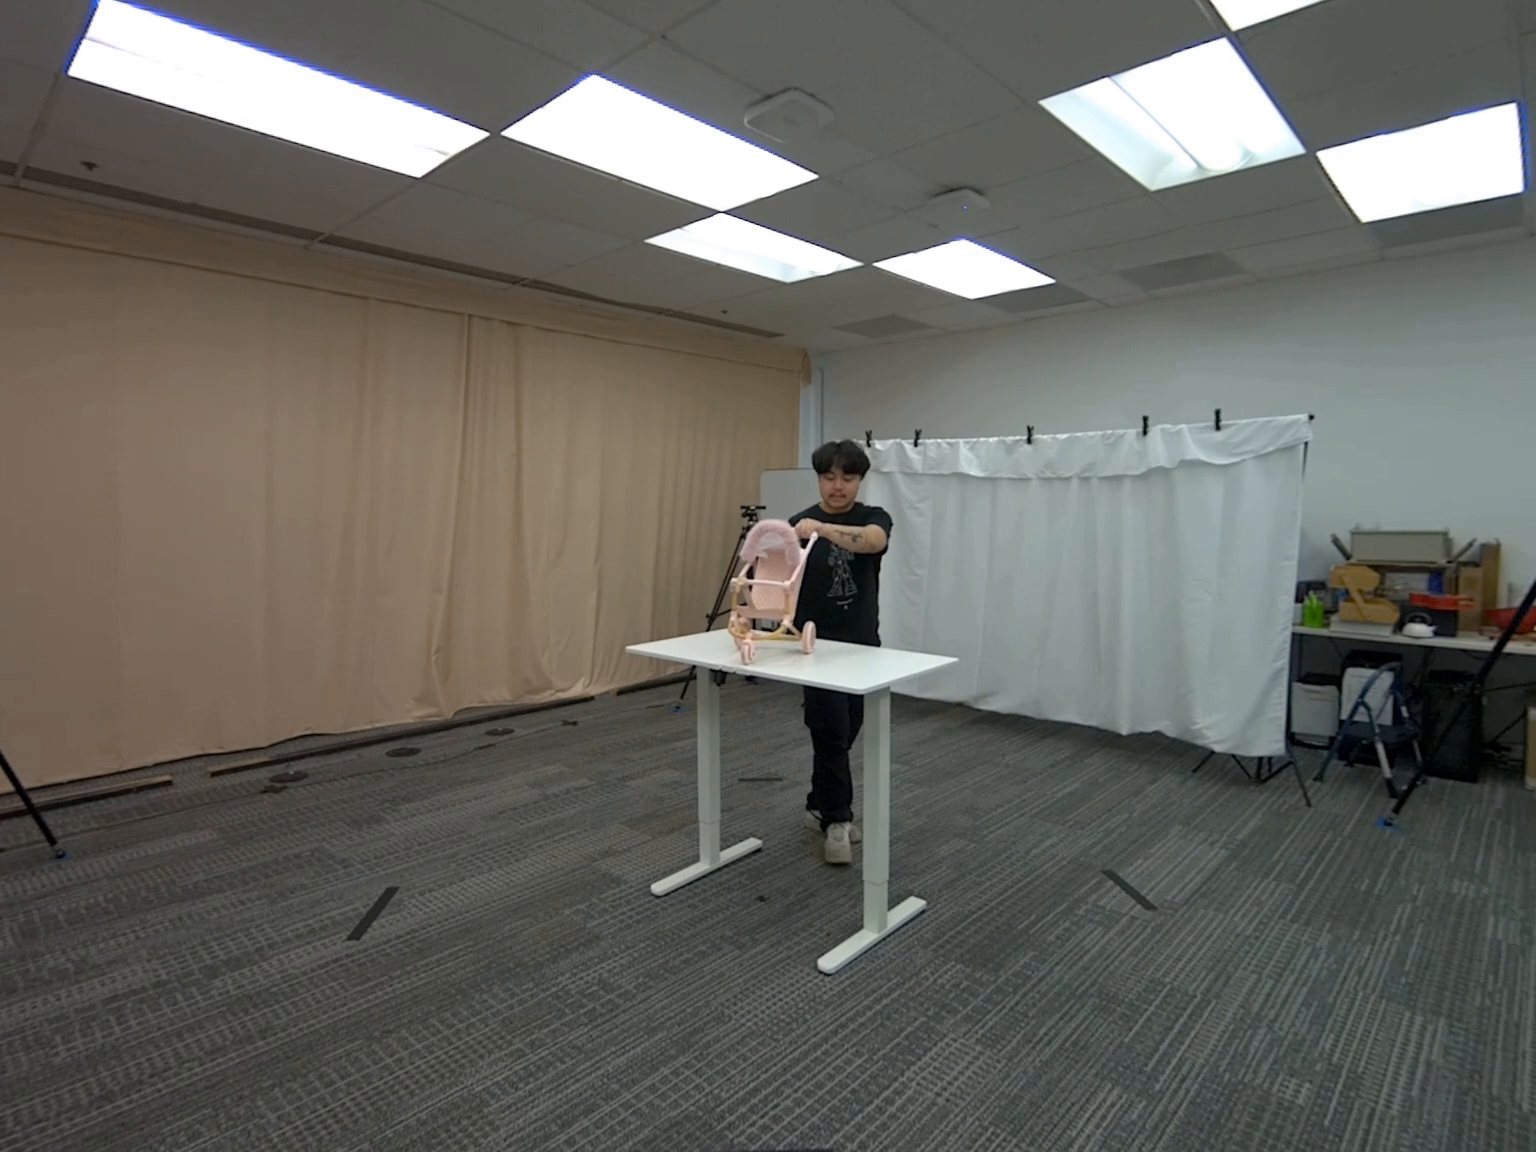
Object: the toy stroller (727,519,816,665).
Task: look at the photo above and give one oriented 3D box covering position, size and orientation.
[{"bbox_3d":[0.007,0.048,2.881,0.289,0.538,0.331,2,-11,26],"label":"toy stroller"}]
